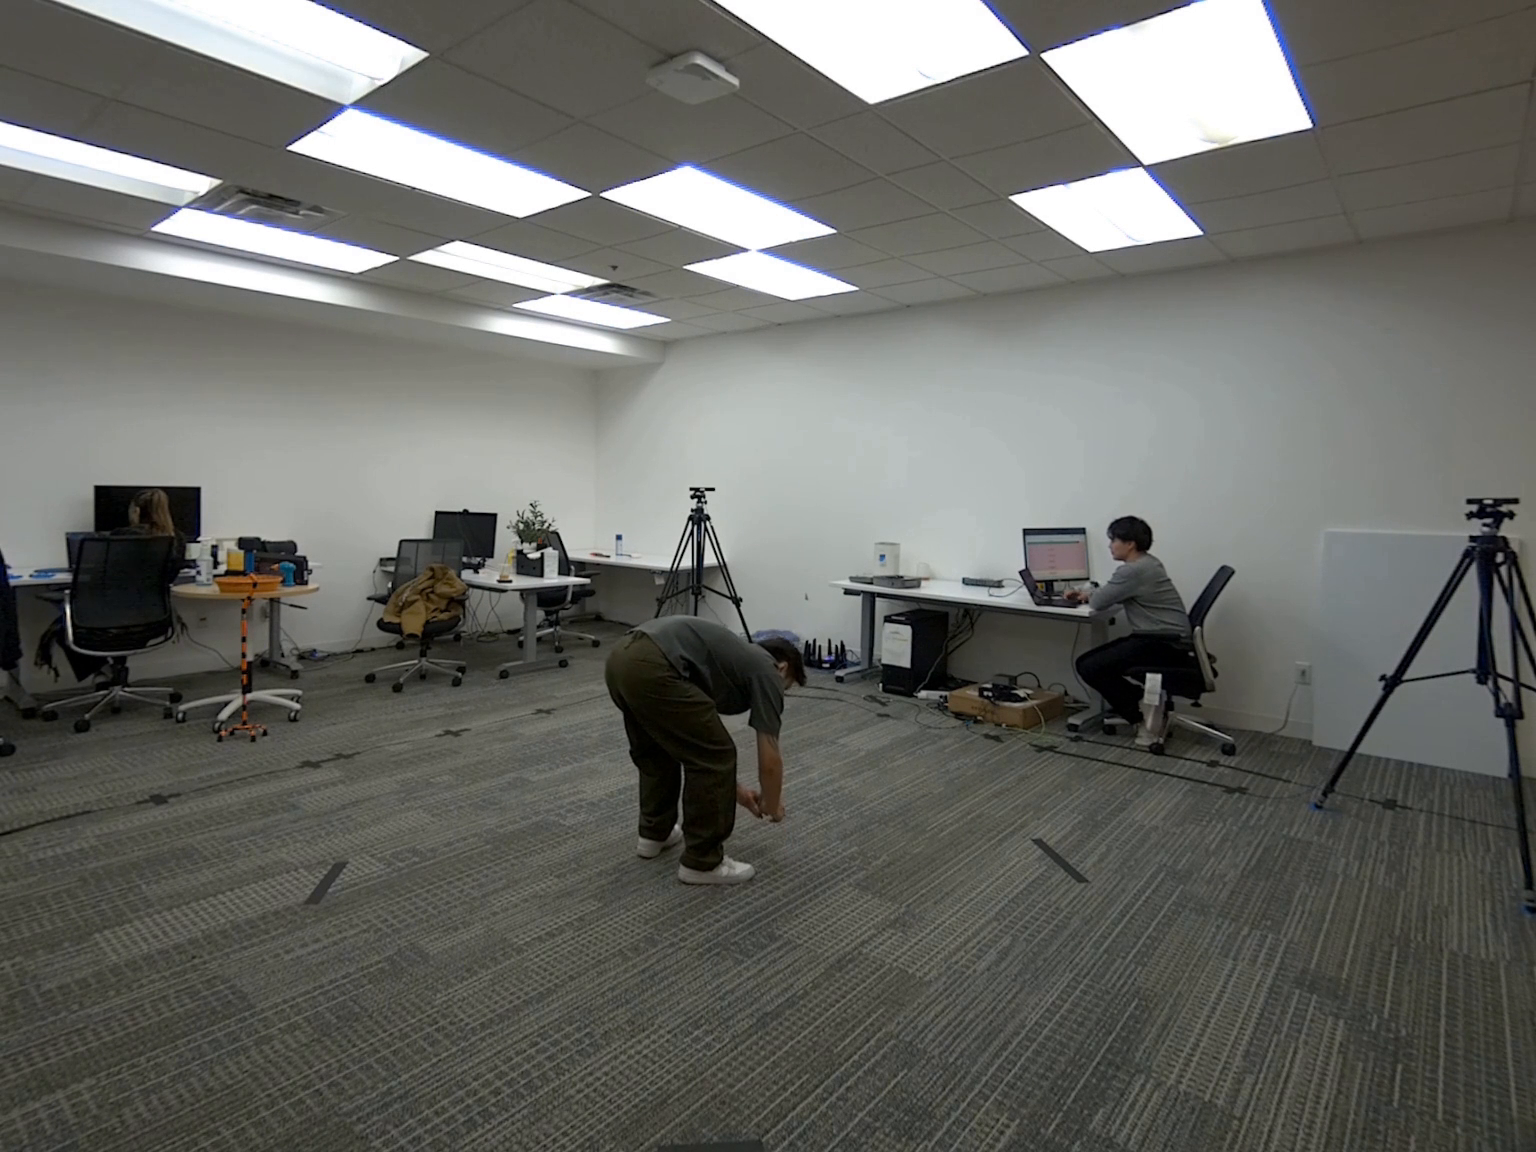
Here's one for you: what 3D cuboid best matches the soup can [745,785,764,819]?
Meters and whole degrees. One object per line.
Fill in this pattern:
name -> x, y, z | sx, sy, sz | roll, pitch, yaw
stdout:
soup can -> -0.017, 0.871, 3.296 | 0.067, 0.121, 0.067 | 5, 4, -2
